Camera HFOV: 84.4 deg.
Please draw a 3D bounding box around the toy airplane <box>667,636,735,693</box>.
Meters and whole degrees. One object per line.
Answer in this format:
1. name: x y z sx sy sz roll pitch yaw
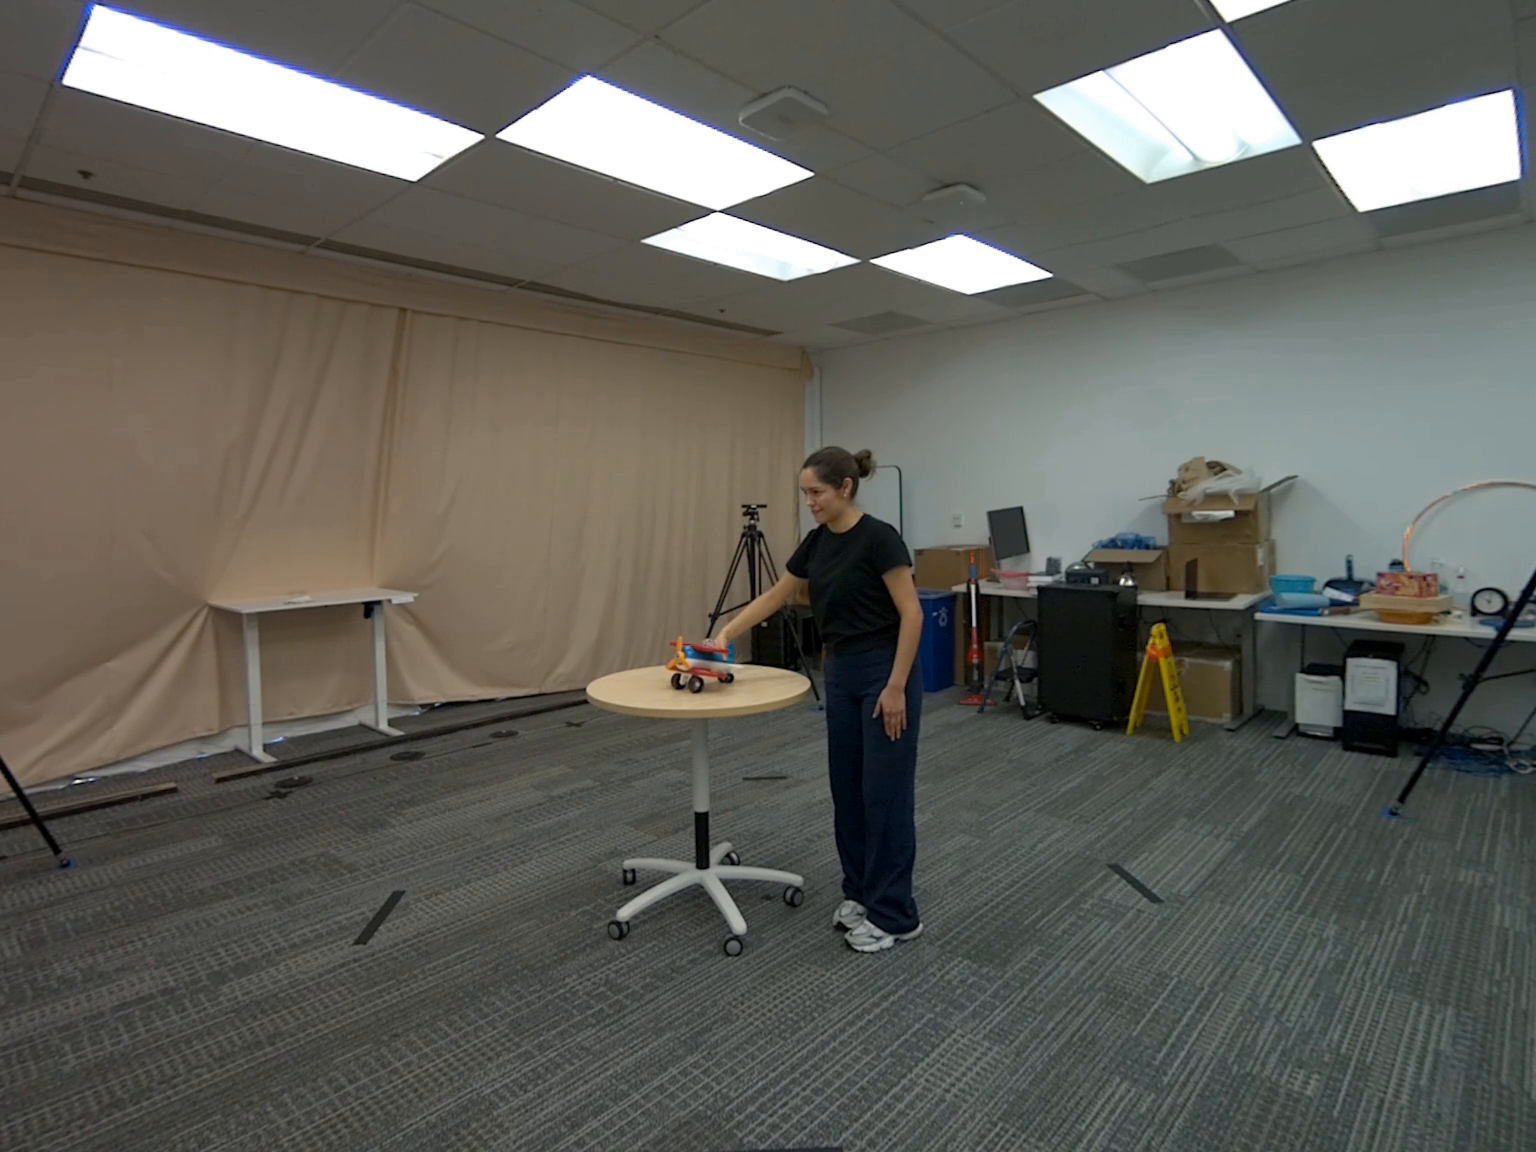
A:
1. toy airplane: -0.205 0.298 2.846 0.256 0.156 0.255 0 6 16
